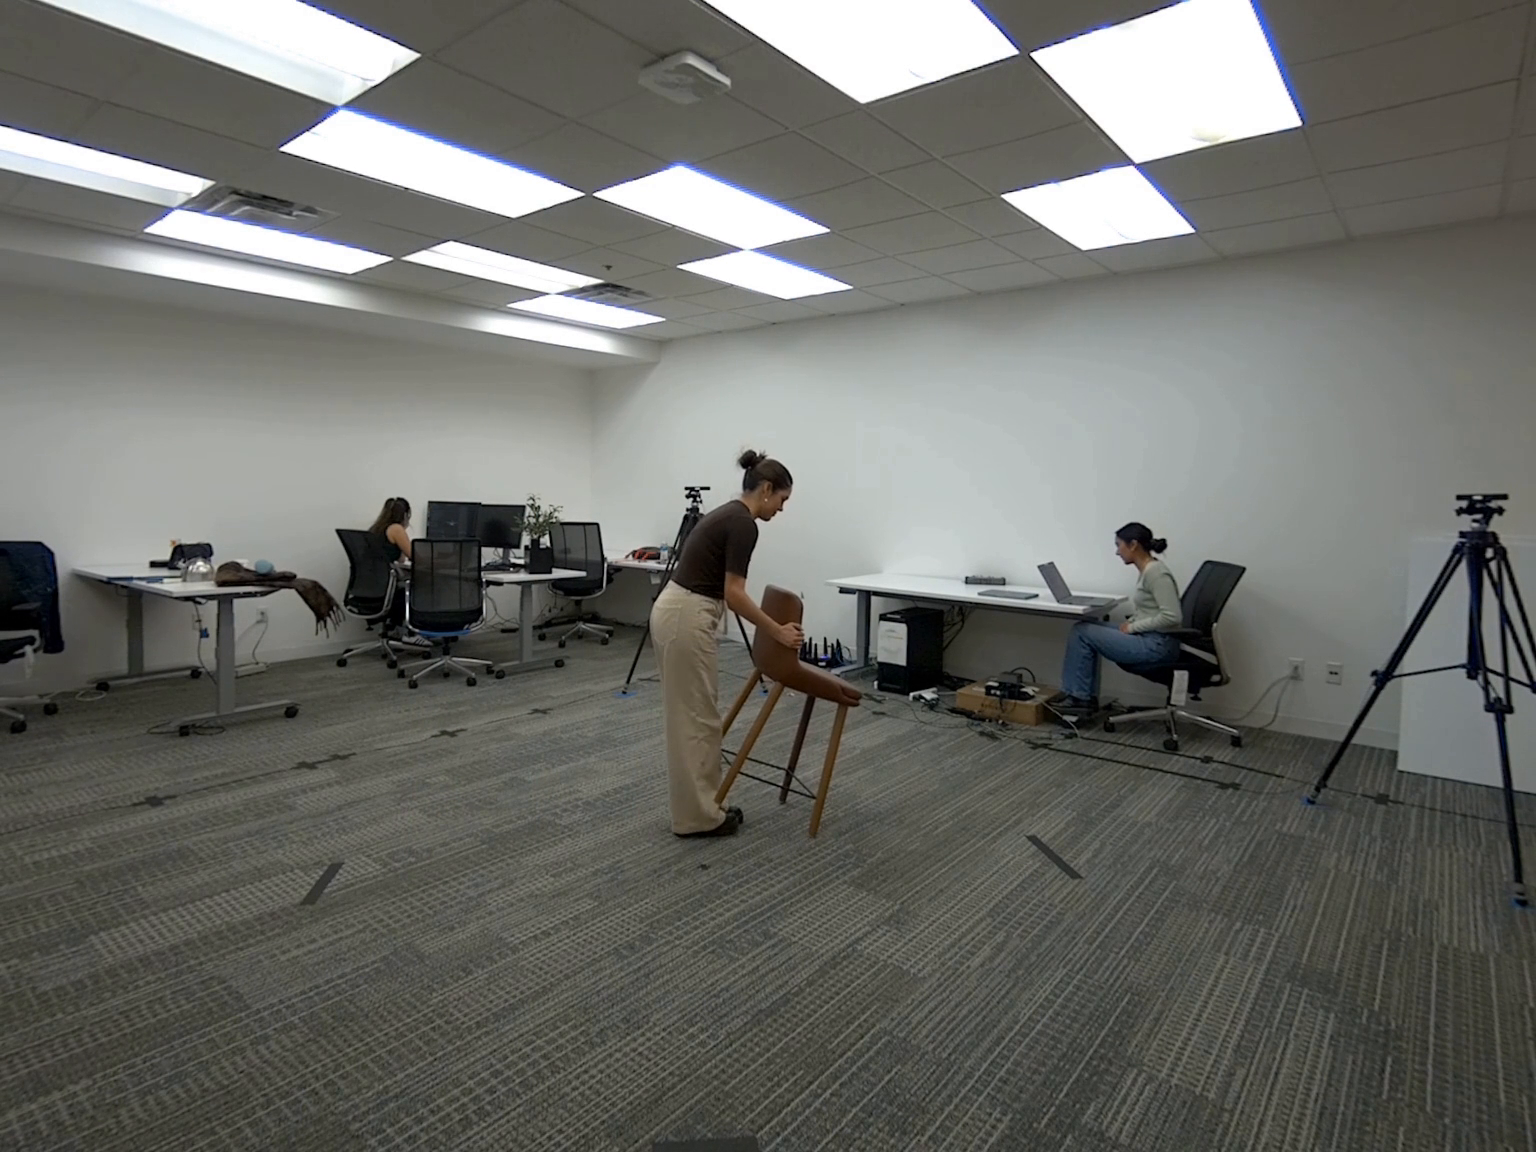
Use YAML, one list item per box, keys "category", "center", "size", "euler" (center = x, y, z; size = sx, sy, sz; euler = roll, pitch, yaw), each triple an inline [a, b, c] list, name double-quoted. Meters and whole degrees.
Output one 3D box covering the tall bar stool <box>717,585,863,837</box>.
- category: "tall bar stool"
  center: [0.082, 0.538, 3.563]
  size: [0.457, 0.891, 0.466]
  euler: [20, -2, -18]
